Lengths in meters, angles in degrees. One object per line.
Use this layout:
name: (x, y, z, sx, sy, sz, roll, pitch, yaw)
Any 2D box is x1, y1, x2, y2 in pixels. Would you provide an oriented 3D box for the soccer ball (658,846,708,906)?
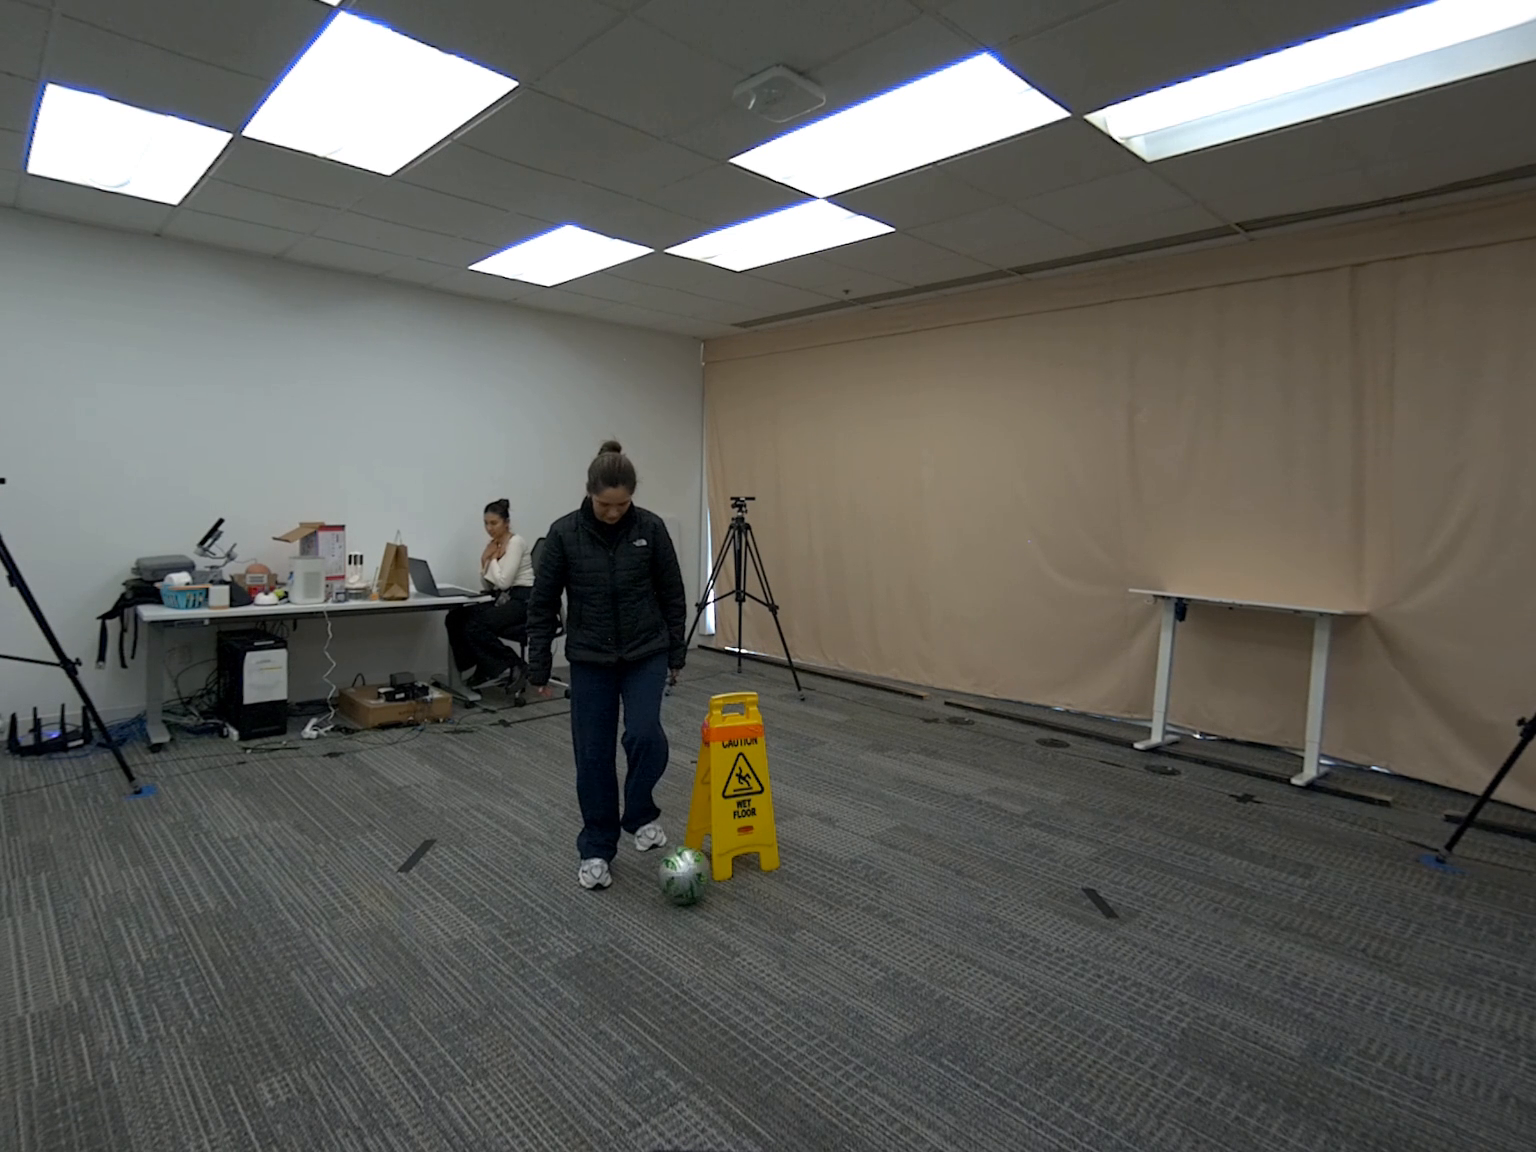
soccer ball: (-0.299, 1.026, 2.898, 0.187, 0.187, 0.188, 1, 4, -1)
